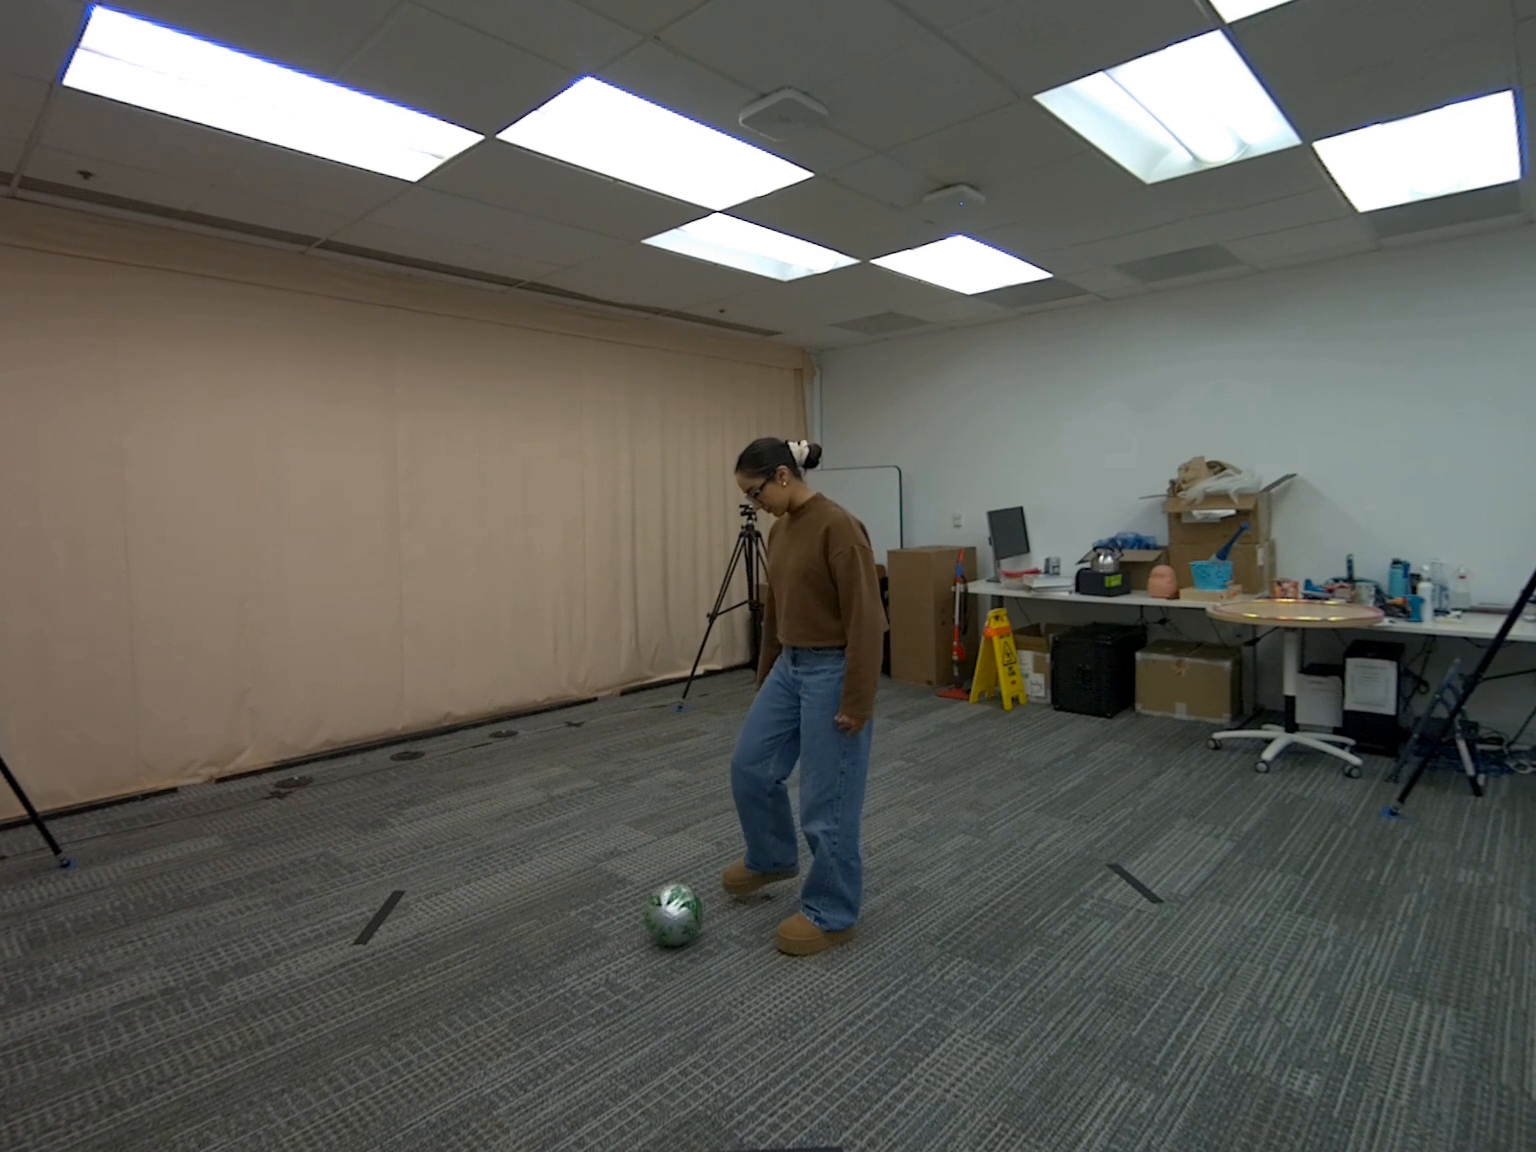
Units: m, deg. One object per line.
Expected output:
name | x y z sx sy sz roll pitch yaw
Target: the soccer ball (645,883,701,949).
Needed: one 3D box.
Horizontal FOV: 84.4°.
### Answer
soccer ball | -0.301 1.080 2.685 0.187 0.187 0.188 -1 4 -2
